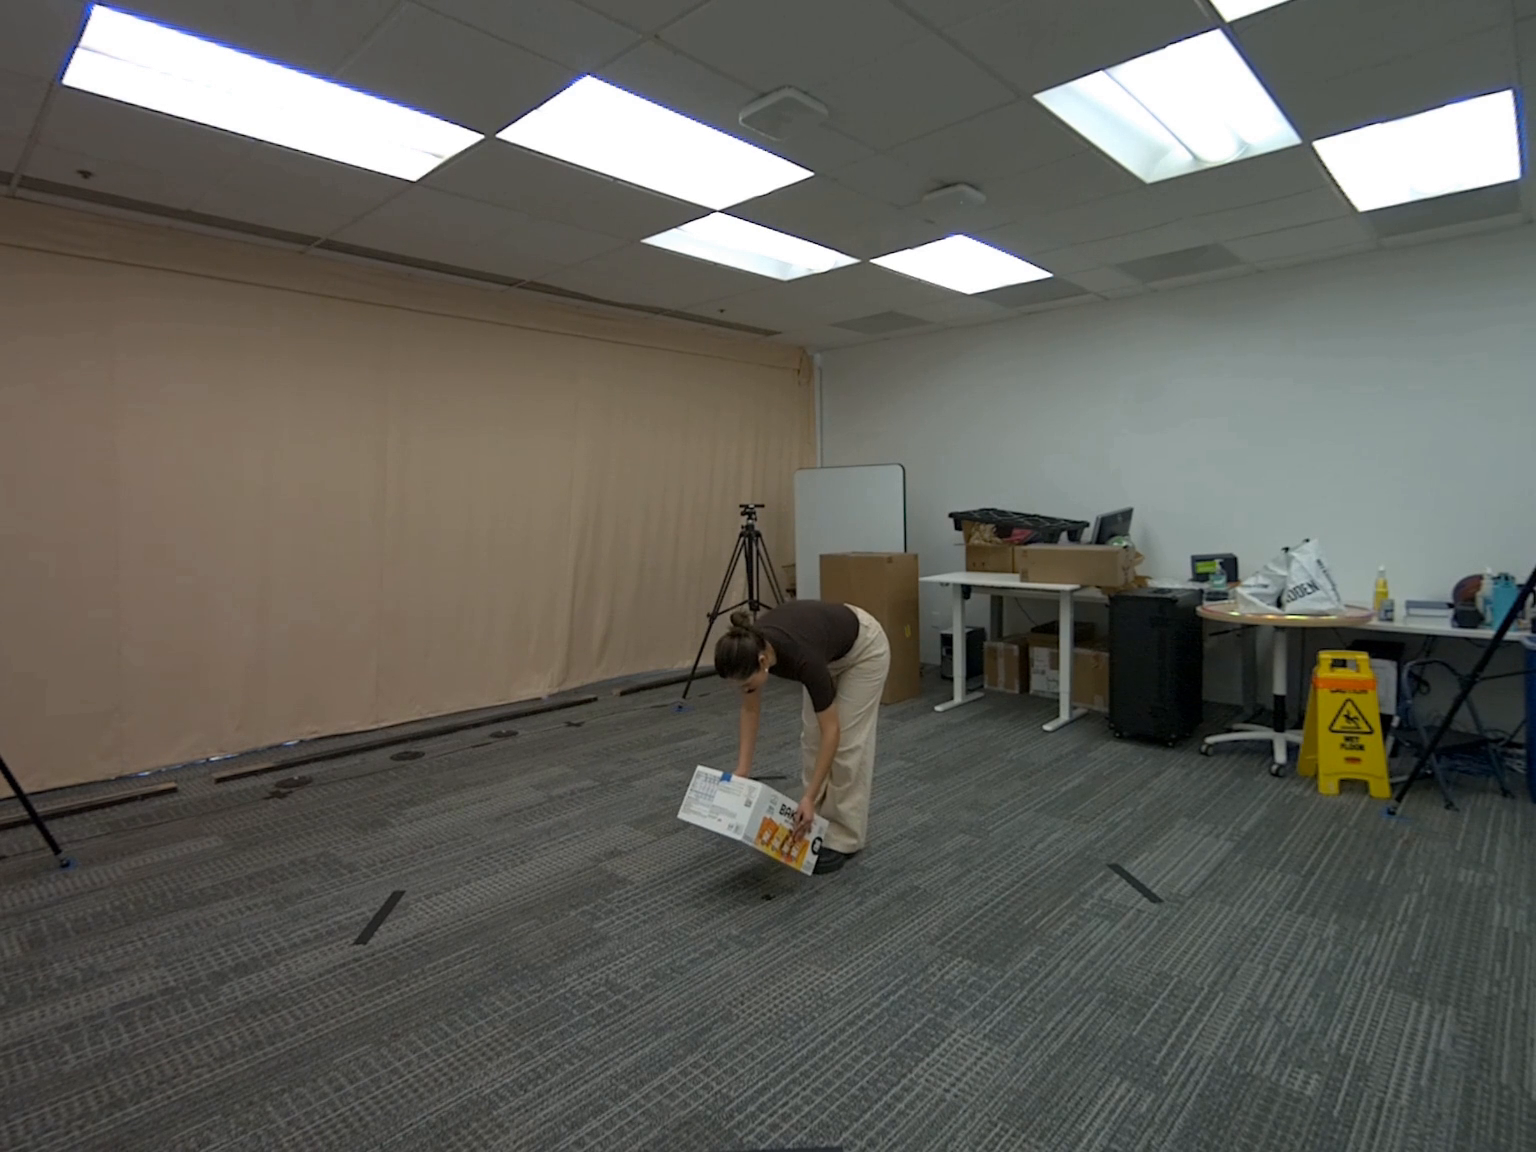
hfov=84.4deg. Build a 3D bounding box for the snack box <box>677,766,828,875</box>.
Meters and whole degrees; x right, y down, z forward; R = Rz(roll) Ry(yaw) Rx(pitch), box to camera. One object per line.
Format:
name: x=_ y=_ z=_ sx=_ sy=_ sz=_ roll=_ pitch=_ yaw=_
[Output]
snack box: x=-0.048 y=0.889 z=3.047 sx=0.351 sy=0.206 sz=0.391 roll=0 pitch=-31 yaw=46
